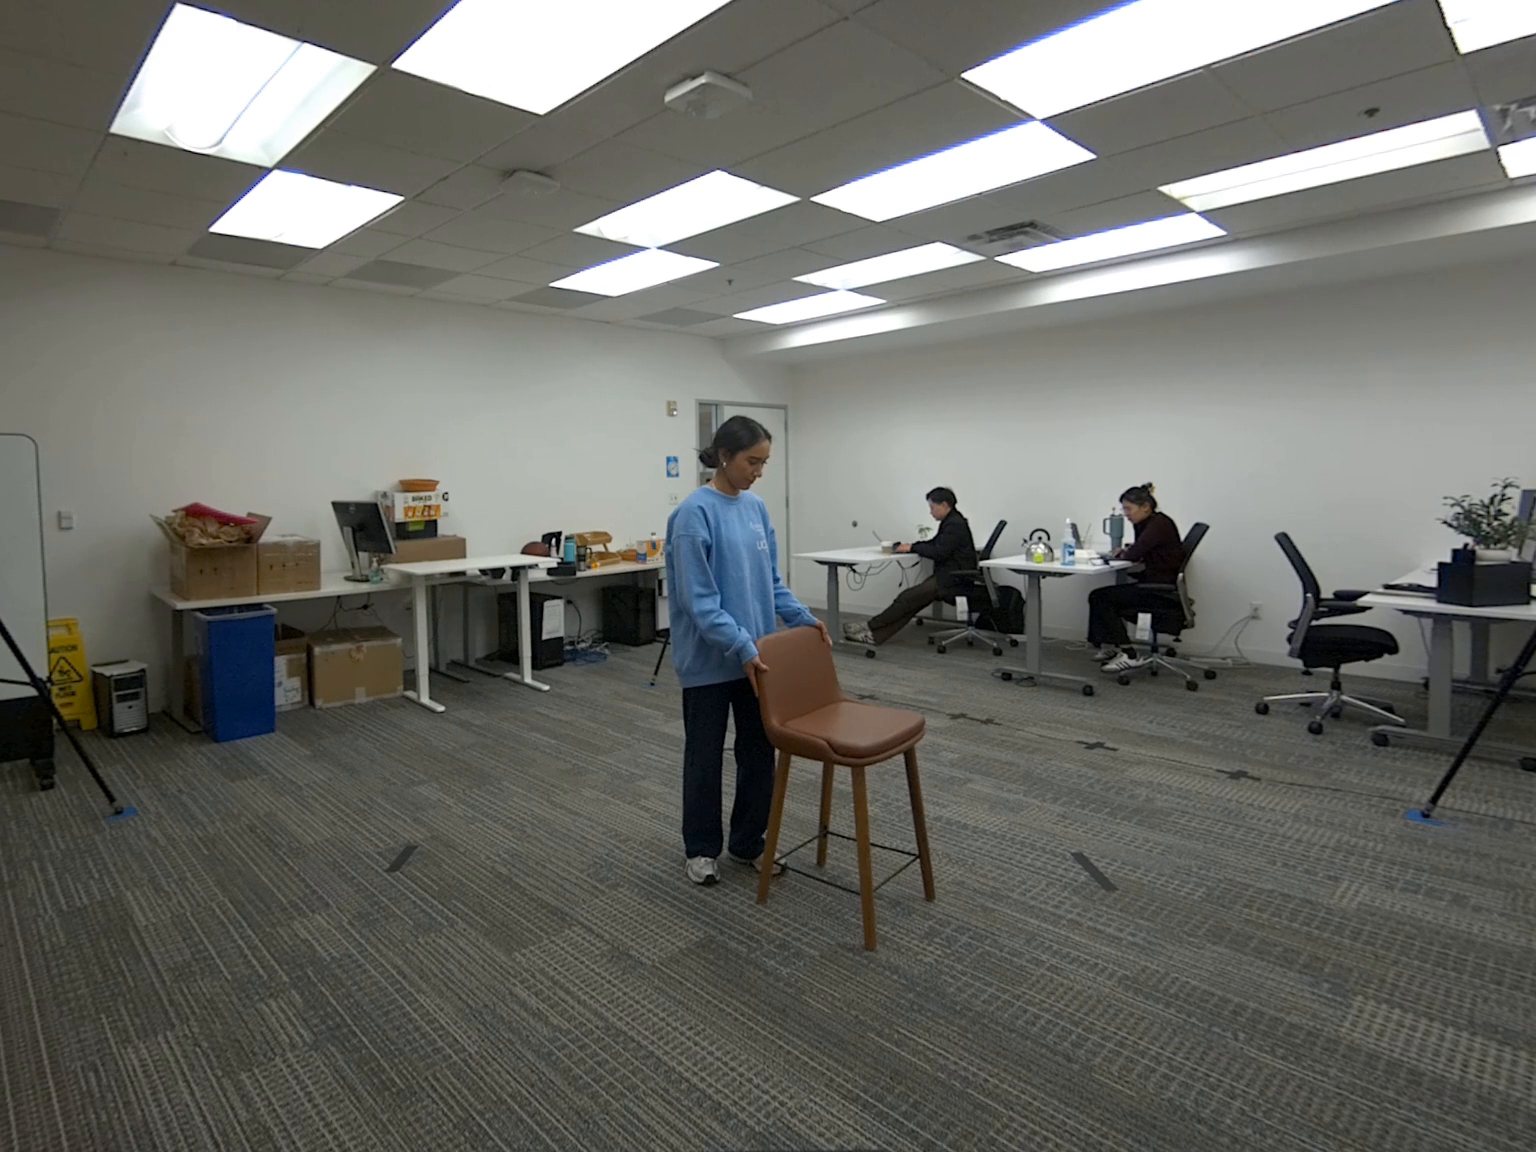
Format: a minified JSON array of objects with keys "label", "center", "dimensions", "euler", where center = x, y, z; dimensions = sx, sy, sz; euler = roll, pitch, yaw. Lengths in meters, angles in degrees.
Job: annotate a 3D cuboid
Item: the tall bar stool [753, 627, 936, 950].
[{"label":"tall bar stool","center":[0.242,0.637,2.792],"dimensions":[0.481,0.888,0.444],"euler":[-1,3,40]}]
